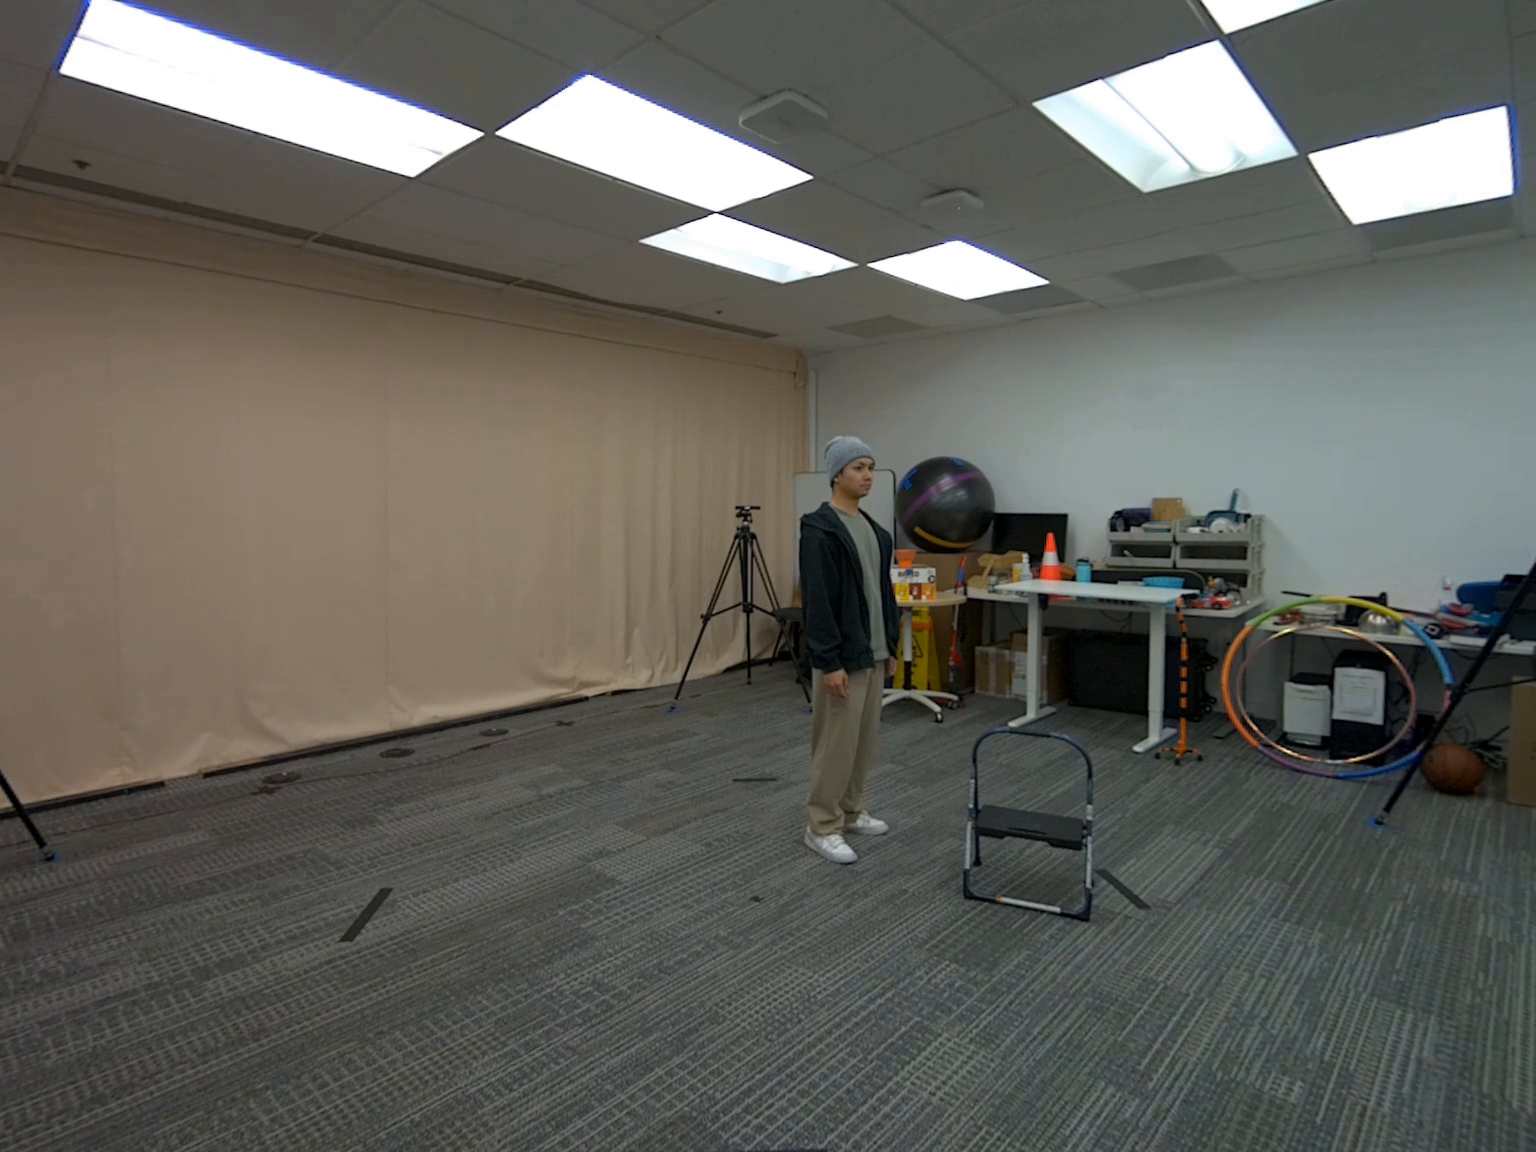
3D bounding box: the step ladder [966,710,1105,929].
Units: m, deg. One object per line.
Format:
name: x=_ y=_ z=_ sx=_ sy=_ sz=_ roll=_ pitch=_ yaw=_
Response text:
step ladder: x=0.957 y=0.839 z=3.027 sx=0.441 sy=0.605 sz=0.342 roll=1 pitch=3 yaw=22
